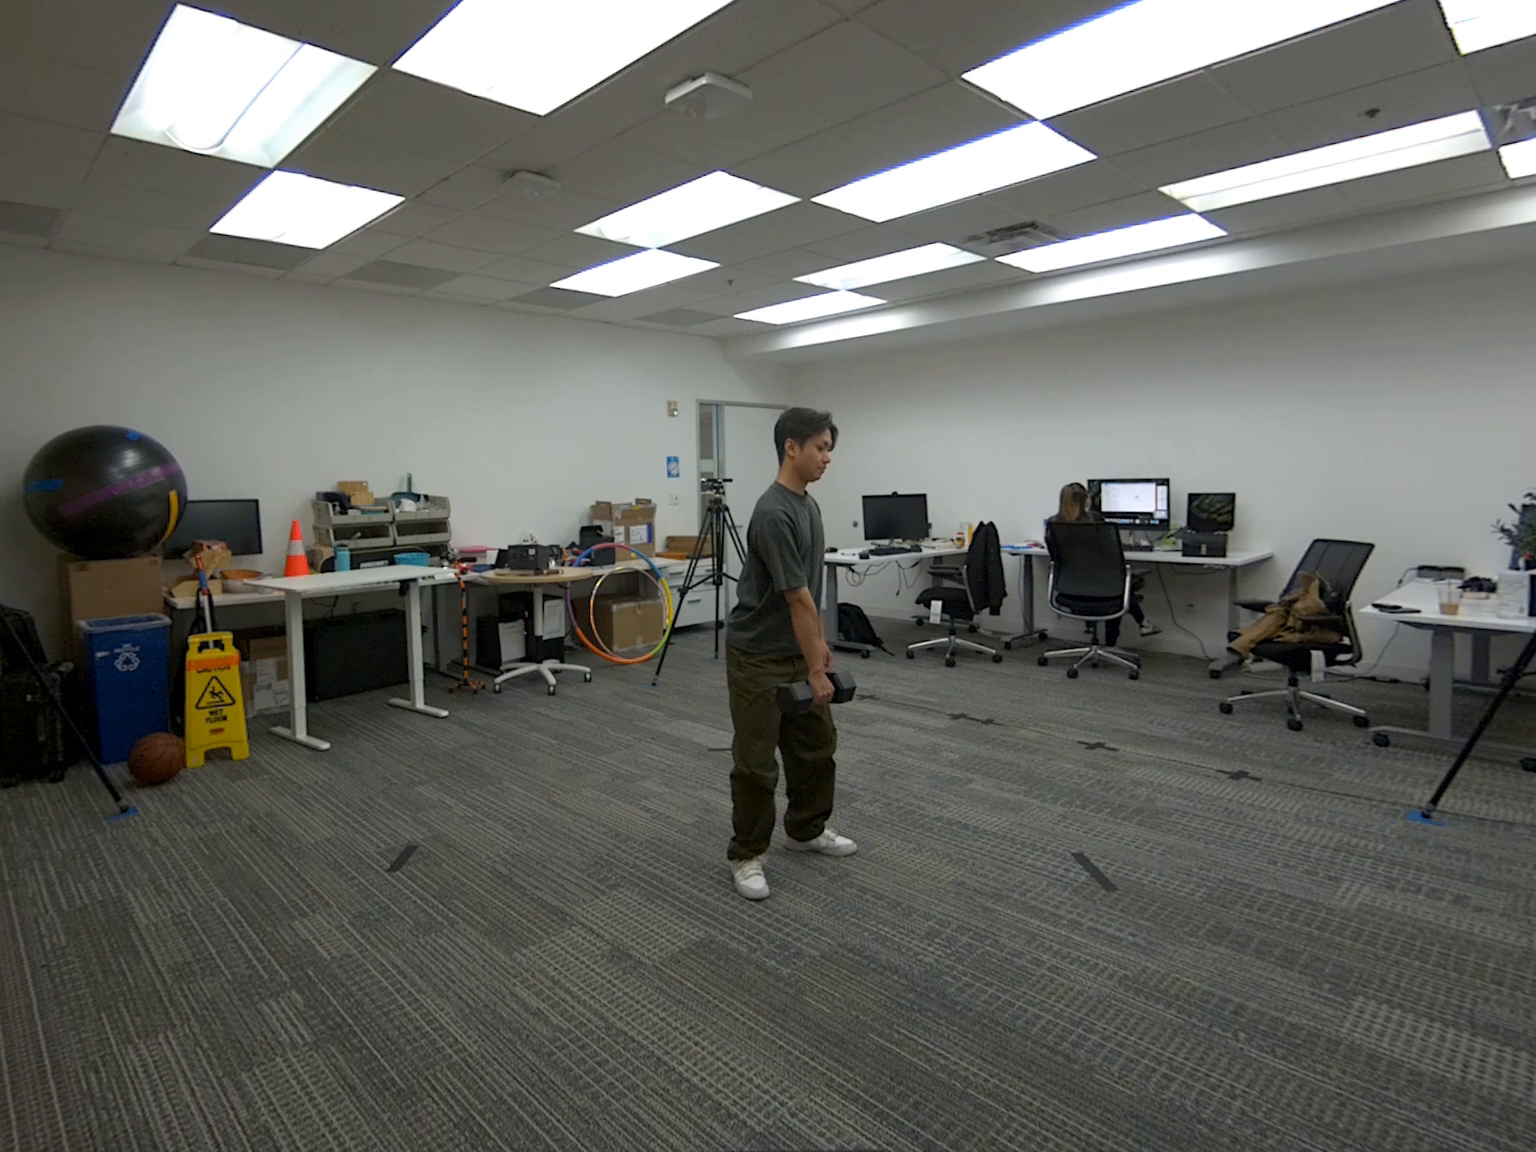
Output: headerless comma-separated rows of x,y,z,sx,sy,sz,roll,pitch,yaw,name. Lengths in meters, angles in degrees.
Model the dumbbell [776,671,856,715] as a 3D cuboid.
0.165,0.399,2.894,0.286,0.121,0.113,-8,31,-38,dumbbell
